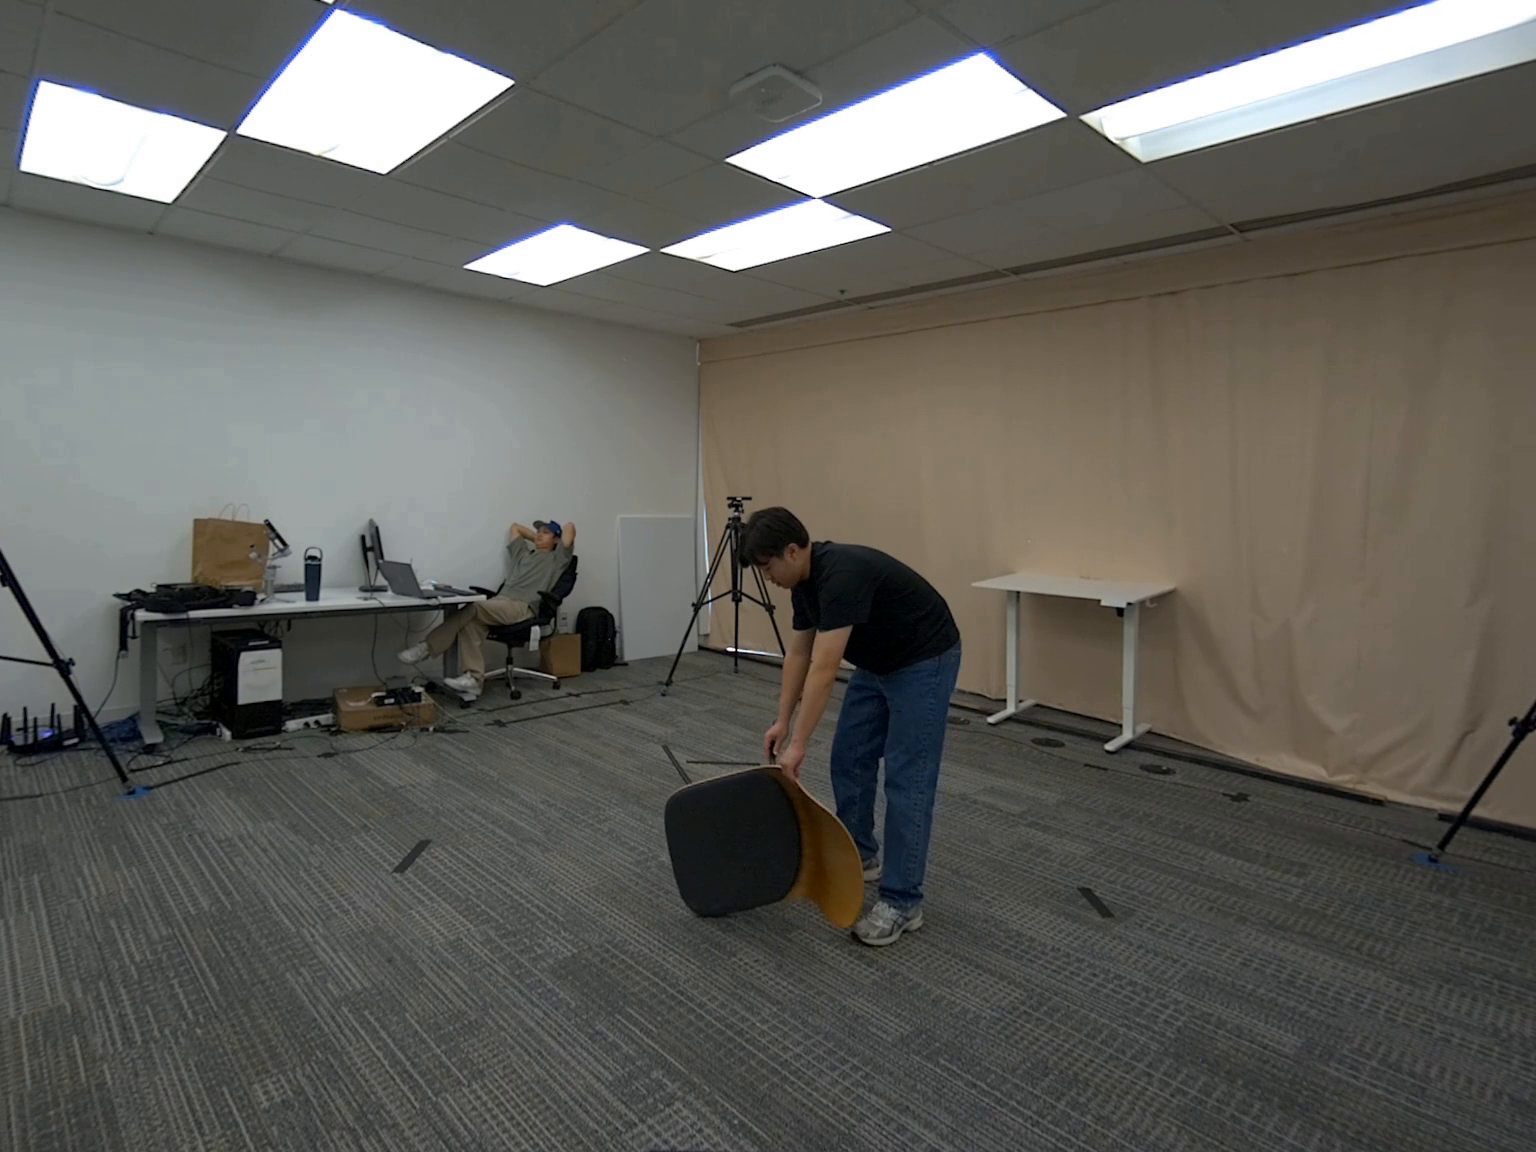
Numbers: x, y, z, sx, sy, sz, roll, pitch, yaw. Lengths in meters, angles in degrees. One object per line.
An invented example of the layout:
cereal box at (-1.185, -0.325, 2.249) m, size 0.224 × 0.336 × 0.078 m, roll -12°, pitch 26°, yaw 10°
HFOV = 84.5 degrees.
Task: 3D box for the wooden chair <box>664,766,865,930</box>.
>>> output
wooden chair at (-0.077, 0.879, 2.839) m, size 0.519 × 0.475 × 0.890 m, roll -12°, pitch 9°, yaw -12°
